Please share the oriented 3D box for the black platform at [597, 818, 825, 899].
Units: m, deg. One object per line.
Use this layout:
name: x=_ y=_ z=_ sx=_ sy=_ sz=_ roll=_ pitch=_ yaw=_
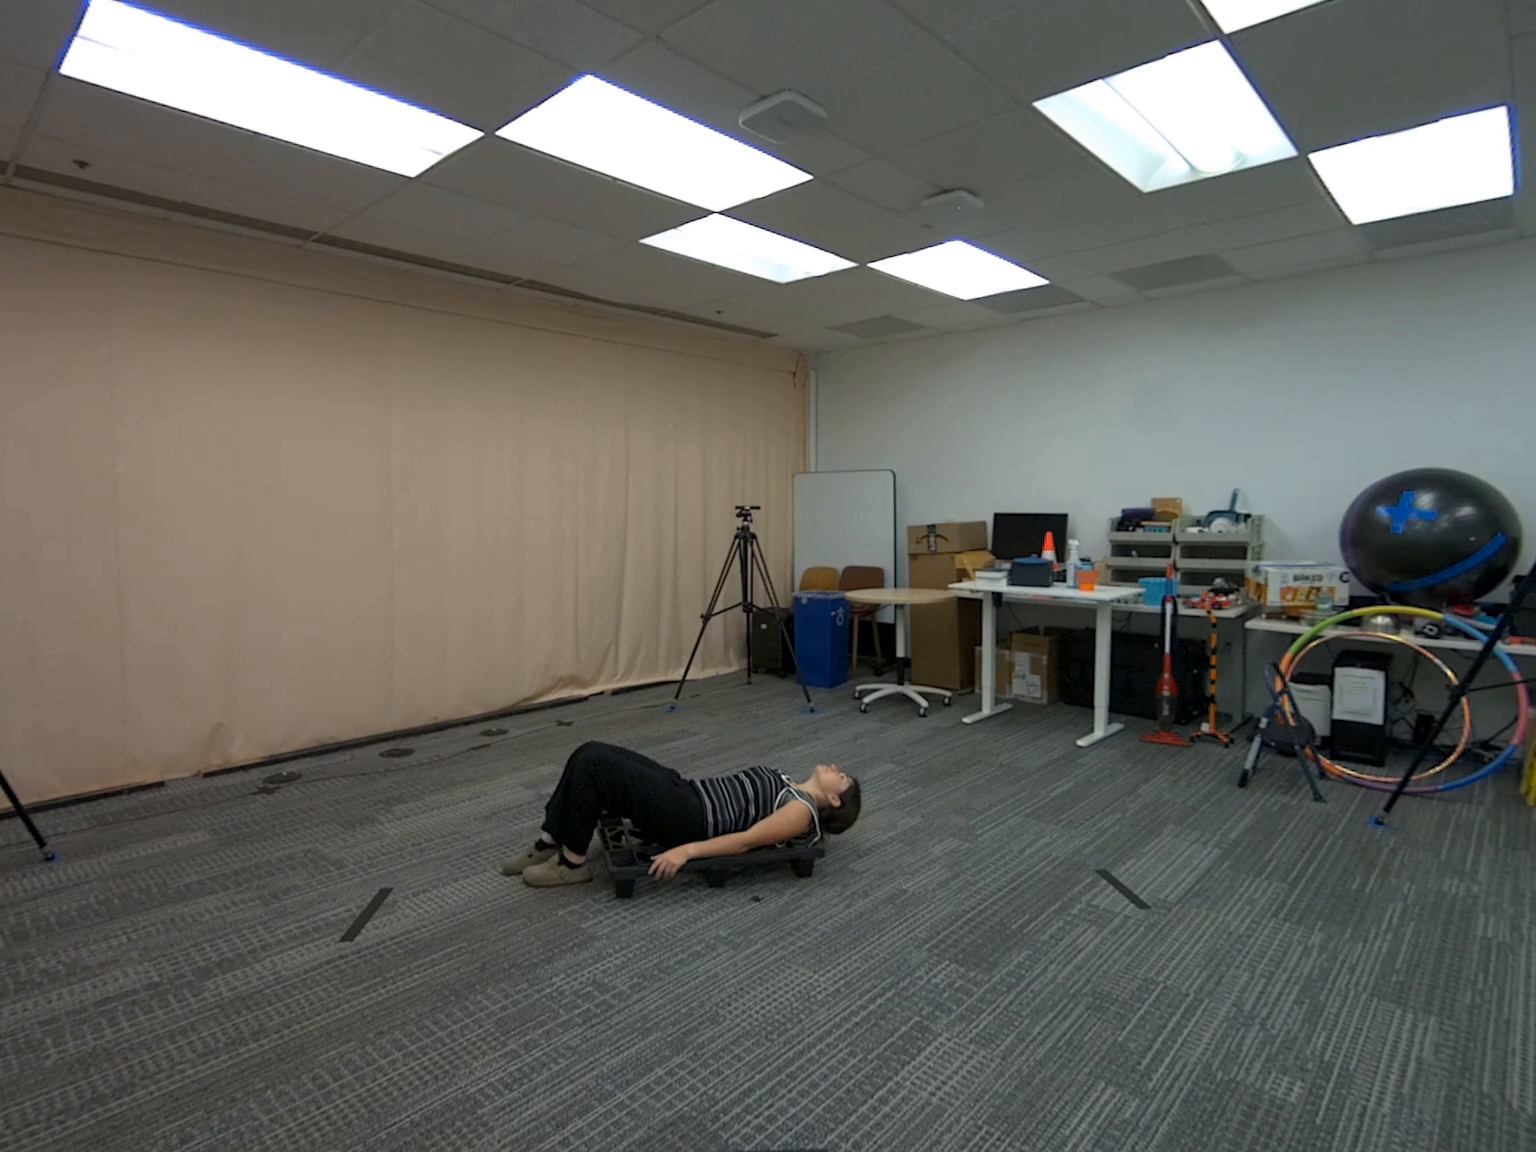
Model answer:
black platform: x=-0.258 y=1.046 z=3.300 sx=0.794 sy=0.143 sz=0.615 roll=-2 pitch=6 yaw=-14
